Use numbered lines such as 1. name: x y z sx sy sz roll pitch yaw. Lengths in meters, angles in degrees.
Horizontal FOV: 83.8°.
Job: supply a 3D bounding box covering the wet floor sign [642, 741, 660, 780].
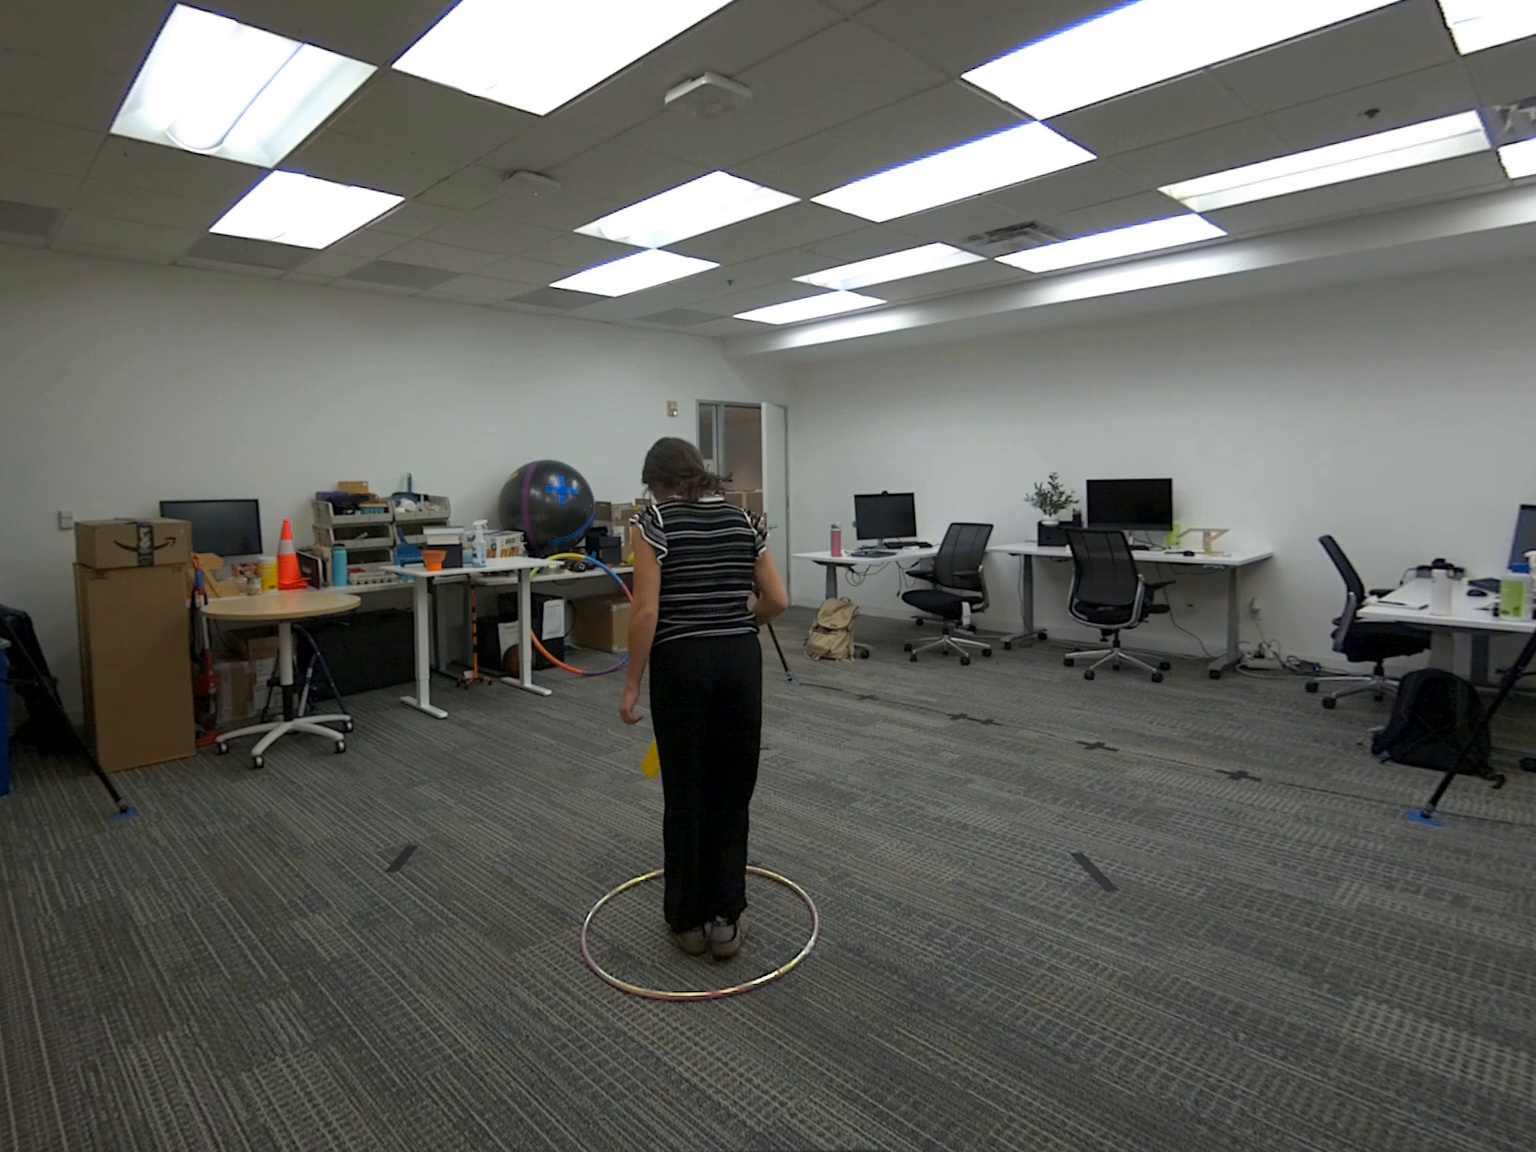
1. wet floor sign: -0.200 0.463 2.942 0.282 0.637 0.293 -7 32 -42
